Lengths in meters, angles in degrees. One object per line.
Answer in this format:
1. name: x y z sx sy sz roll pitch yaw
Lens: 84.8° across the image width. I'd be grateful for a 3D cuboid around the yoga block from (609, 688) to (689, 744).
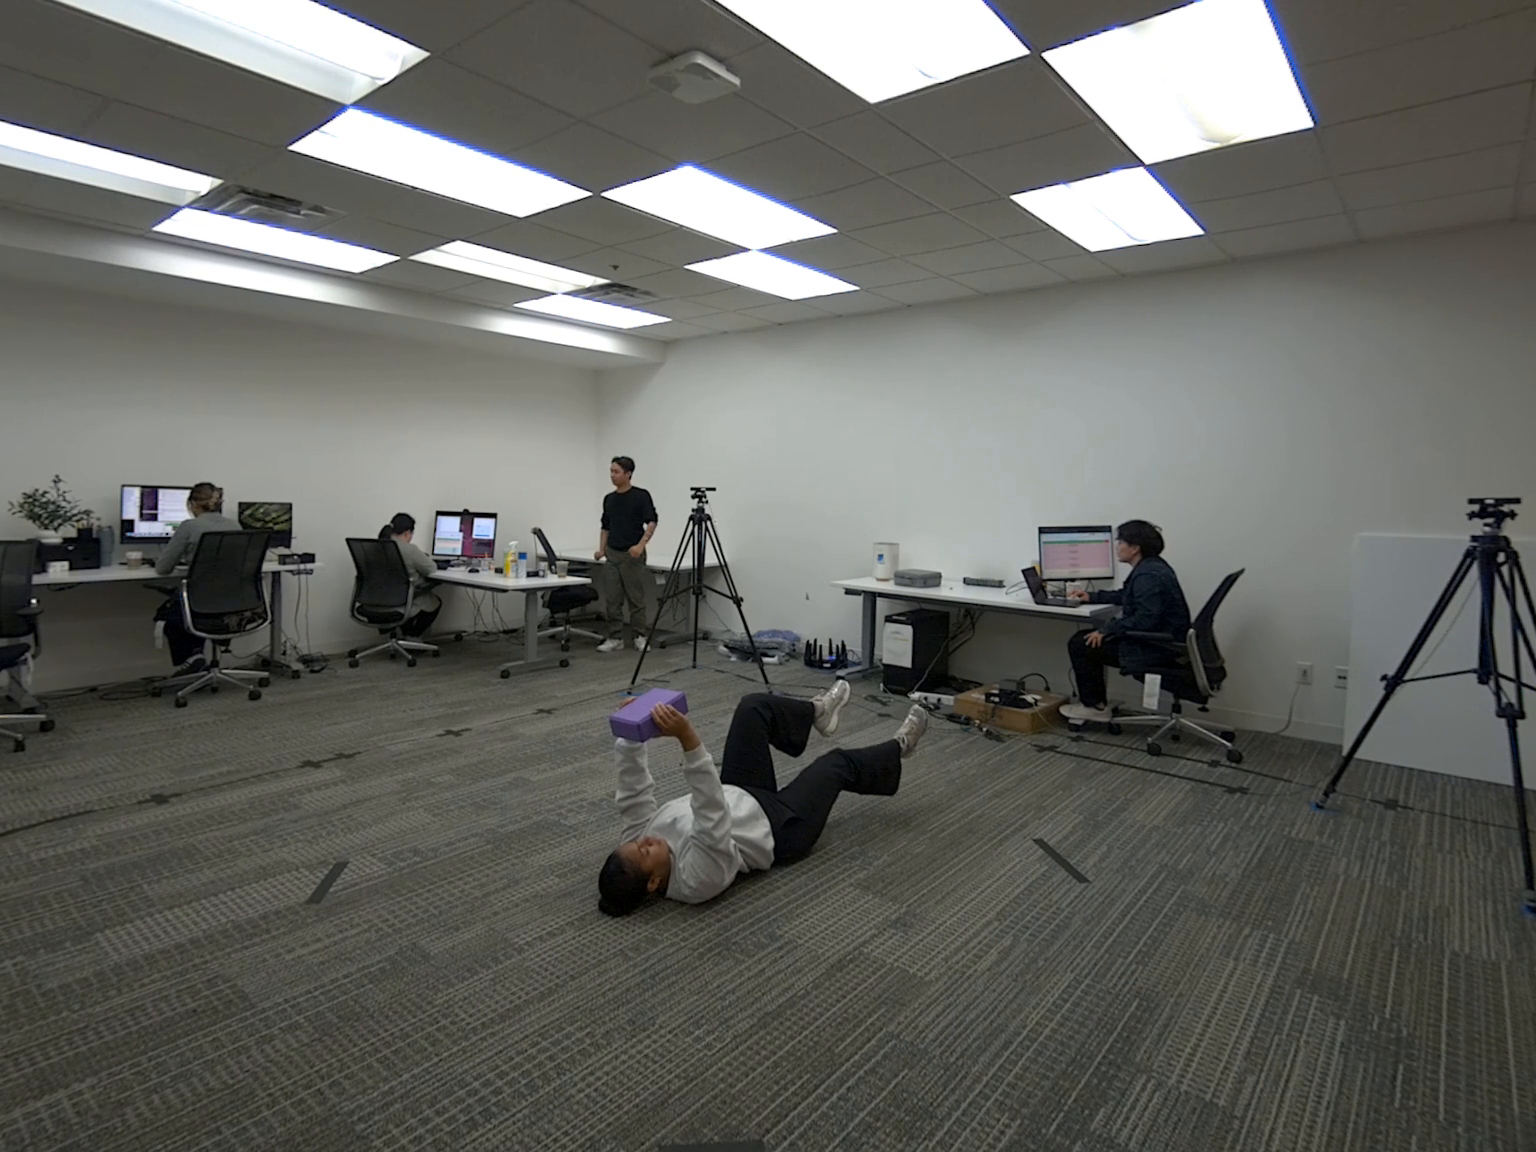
1. yoga block: -0.405 0.456 2.793 0.153 0.075 0.226 -1 18 36
